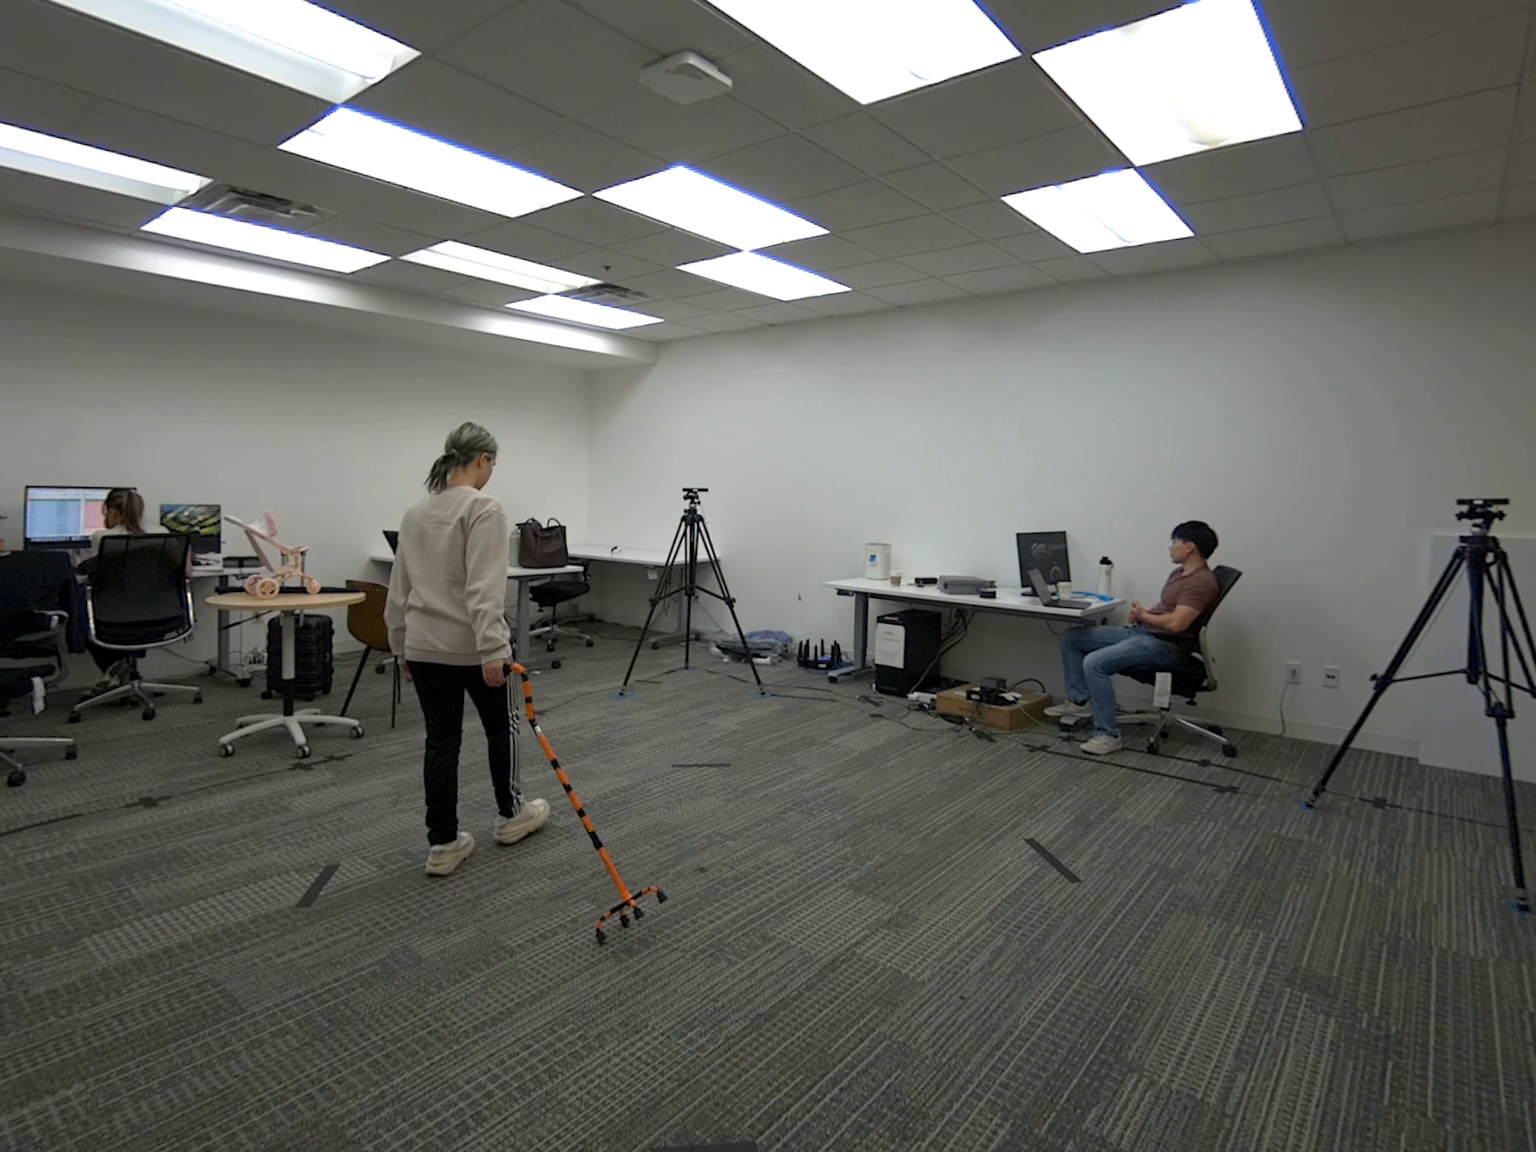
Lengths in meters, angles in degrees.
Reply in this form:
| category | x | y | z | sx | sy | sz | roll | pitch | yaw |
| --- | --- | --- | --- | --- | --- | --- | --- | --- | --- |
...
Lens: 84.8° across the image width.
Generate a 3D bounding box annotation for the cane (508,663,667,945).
| category | x | y | z | sx | sy | sz | roll | pitch | yaw |
| --- | --- | --- | --- | --- | --- | --- | --- | --- | --- |
| cane | -0.655 | 0.682 | 2.722 | 0.207 | 0.927 | 0.148 | -40 | -17 | 27 |
